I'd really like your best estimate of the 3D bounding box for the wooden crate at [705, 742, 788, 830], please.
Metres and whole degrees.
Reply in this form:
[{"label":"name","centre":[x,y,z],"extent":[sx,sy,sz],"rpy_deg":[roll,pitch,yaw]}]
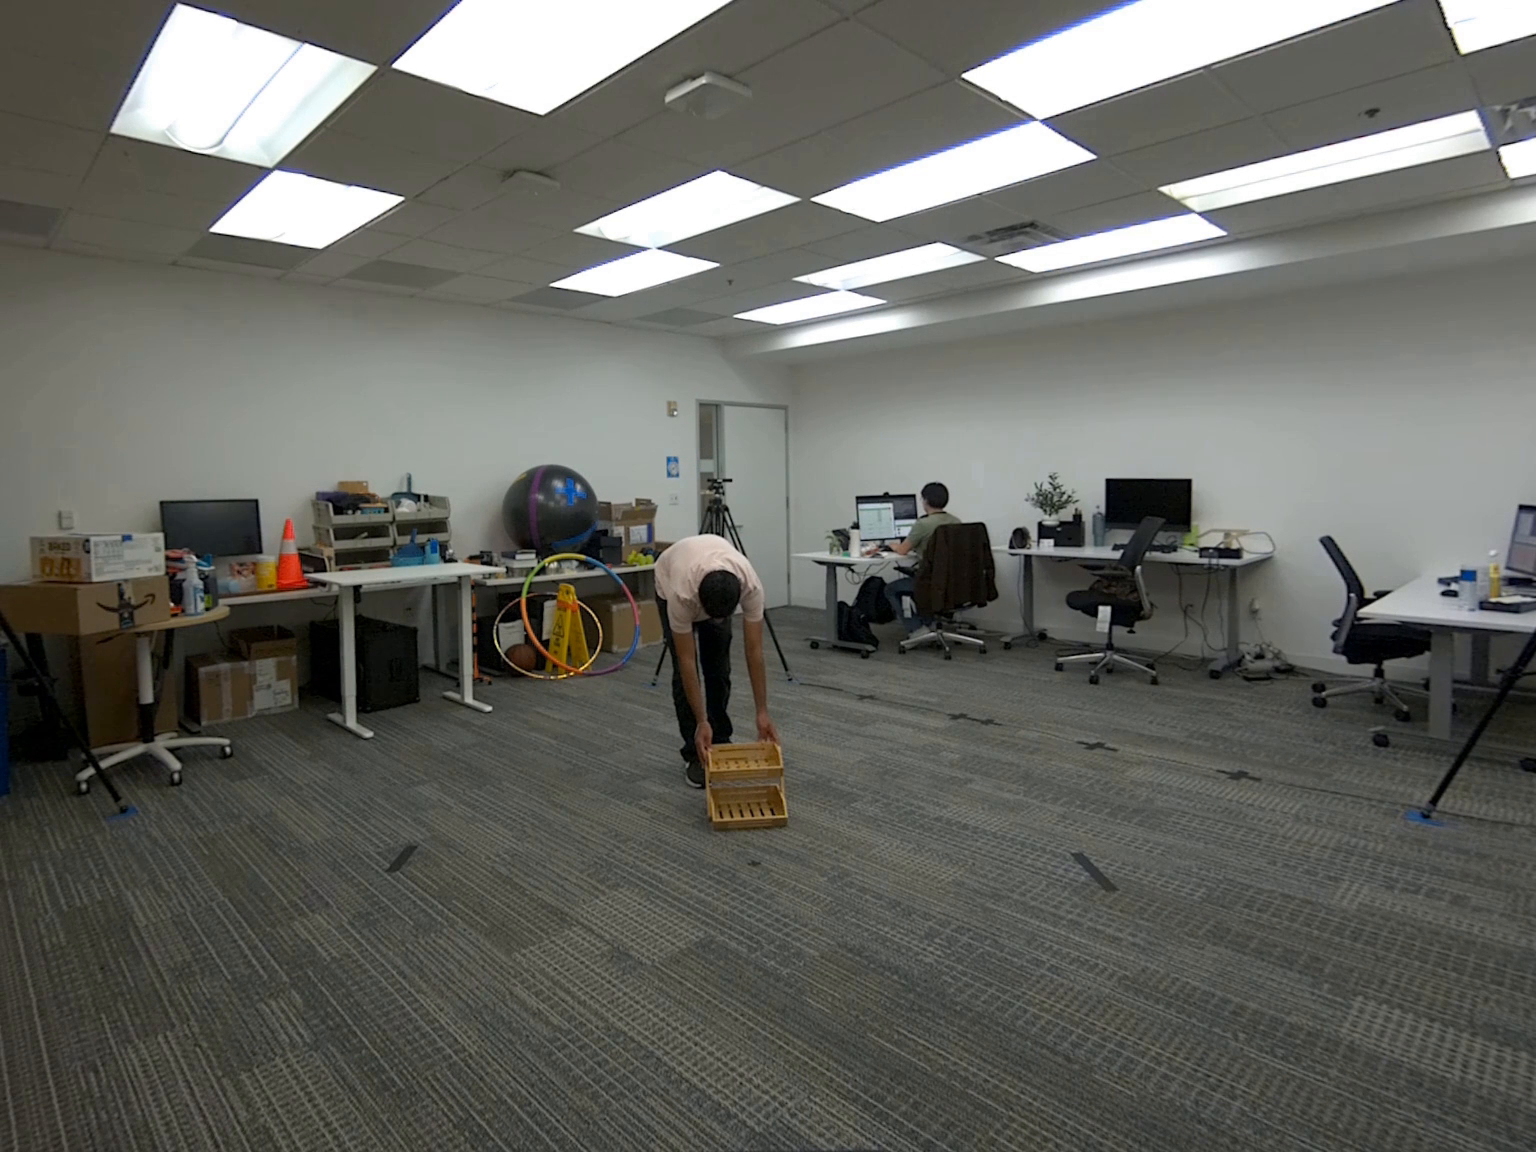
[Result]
[{"label":"wooden crate","centre":[-0.091,0.870,3.538],"extent":[0.323,0.272,0.305],"rpy_deg":[-1,6,-6]}]
